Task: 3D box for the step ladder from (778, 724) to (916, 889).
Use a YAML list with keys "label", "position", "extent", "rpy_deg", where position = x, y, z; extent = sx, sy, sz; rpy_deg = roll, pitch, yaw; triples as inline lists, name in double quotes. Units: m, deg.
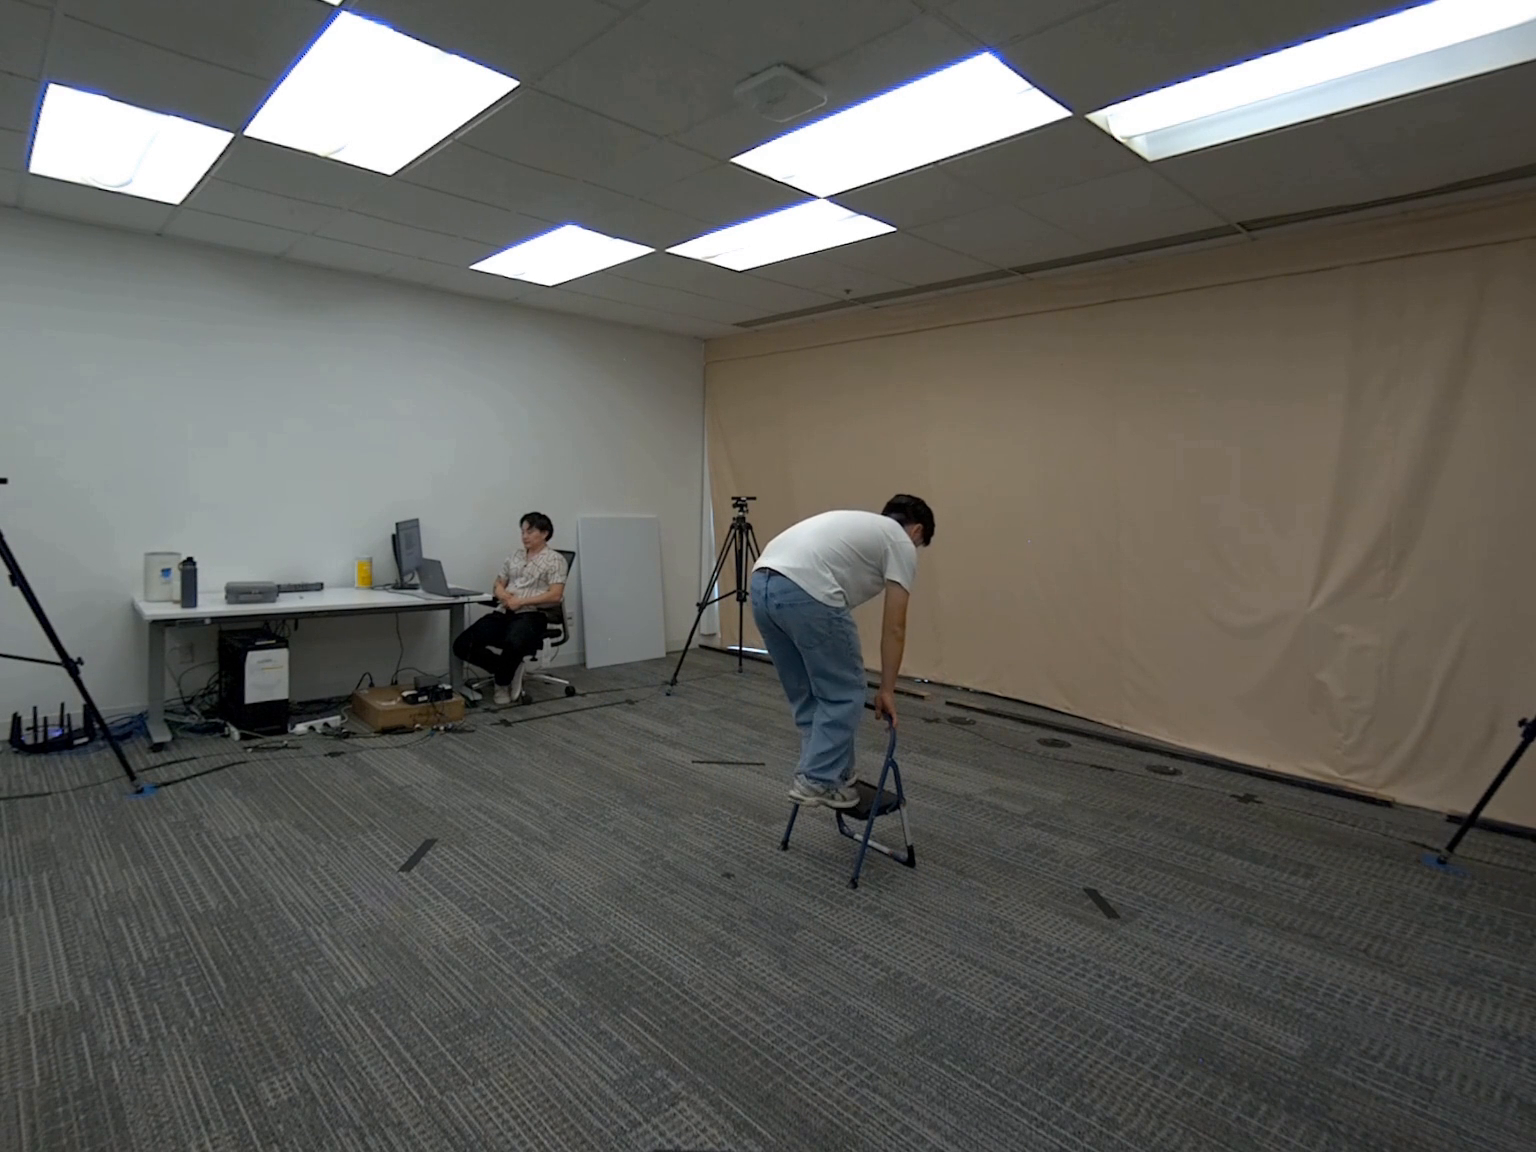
- label: "step ladder"
  position: [0.312, 0.800, 3.273]
  extent: [0.341, 0.605, 0.441]
  rpy_deg: [0, 4, -37]
